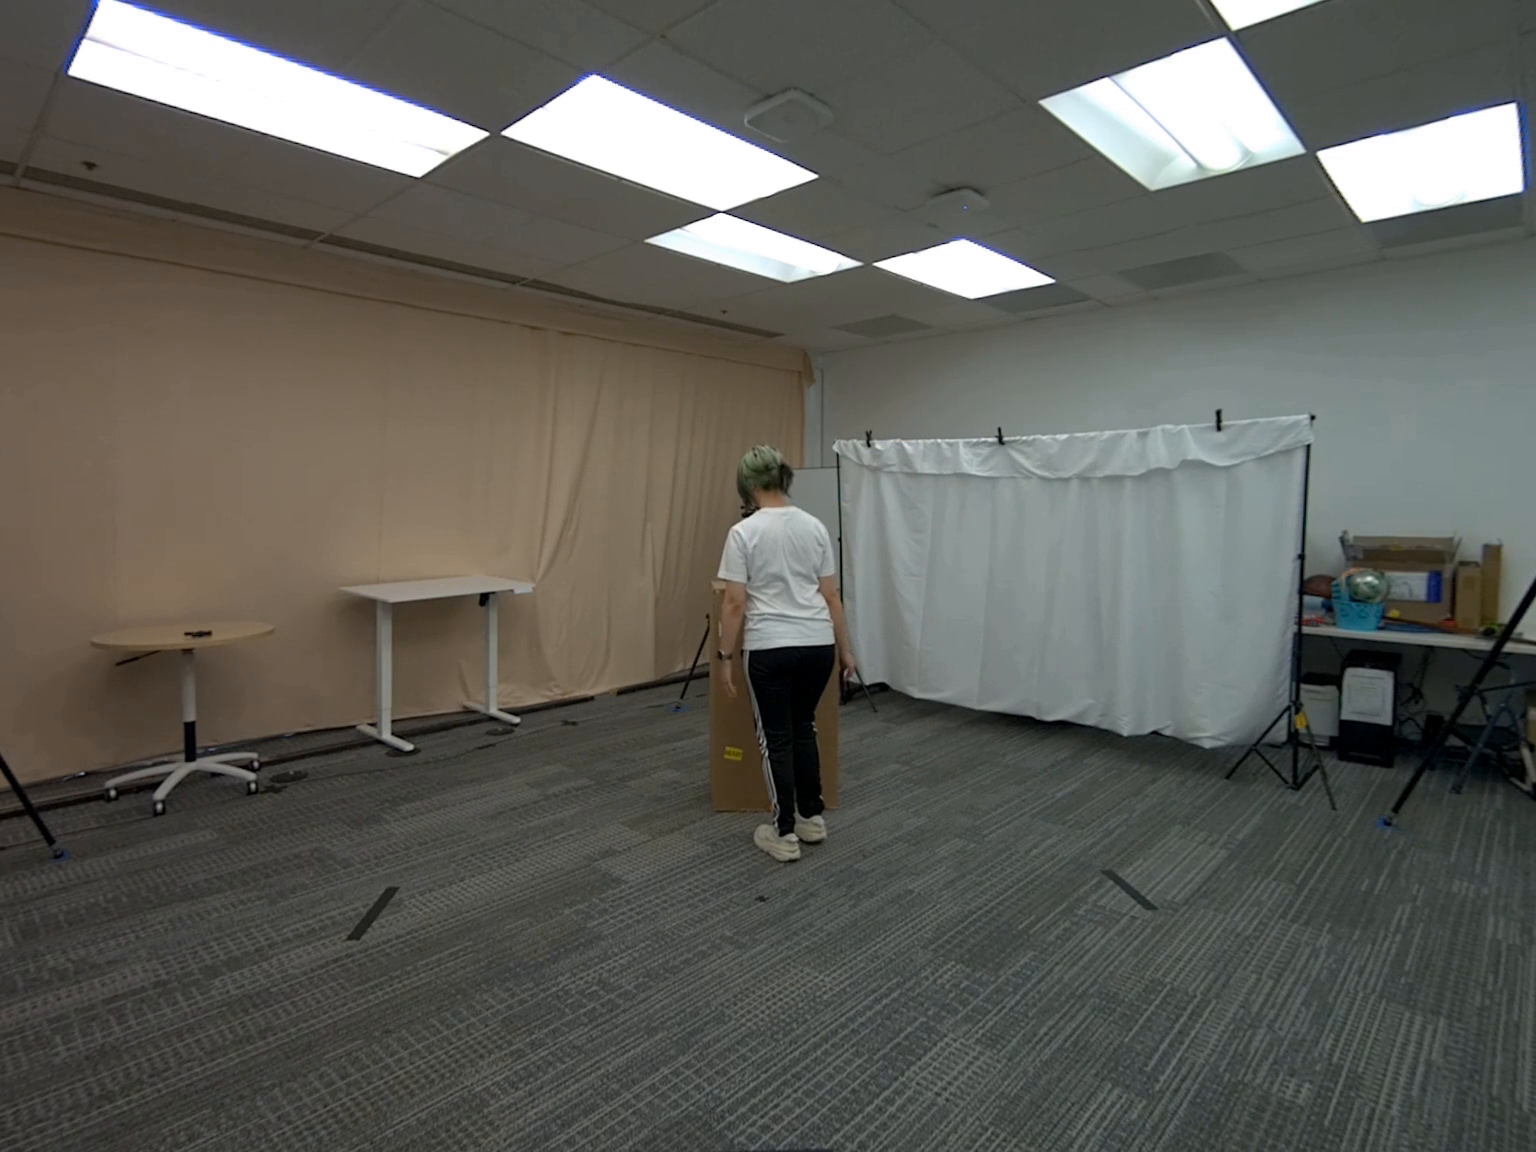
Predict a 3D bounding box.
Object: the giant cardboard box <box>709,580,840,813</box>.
[{"bbox_3d":[0.016,0.551,4.040,0.582,1.026,0.449,0,2,-4],"label":"giant cardboard box"}]
